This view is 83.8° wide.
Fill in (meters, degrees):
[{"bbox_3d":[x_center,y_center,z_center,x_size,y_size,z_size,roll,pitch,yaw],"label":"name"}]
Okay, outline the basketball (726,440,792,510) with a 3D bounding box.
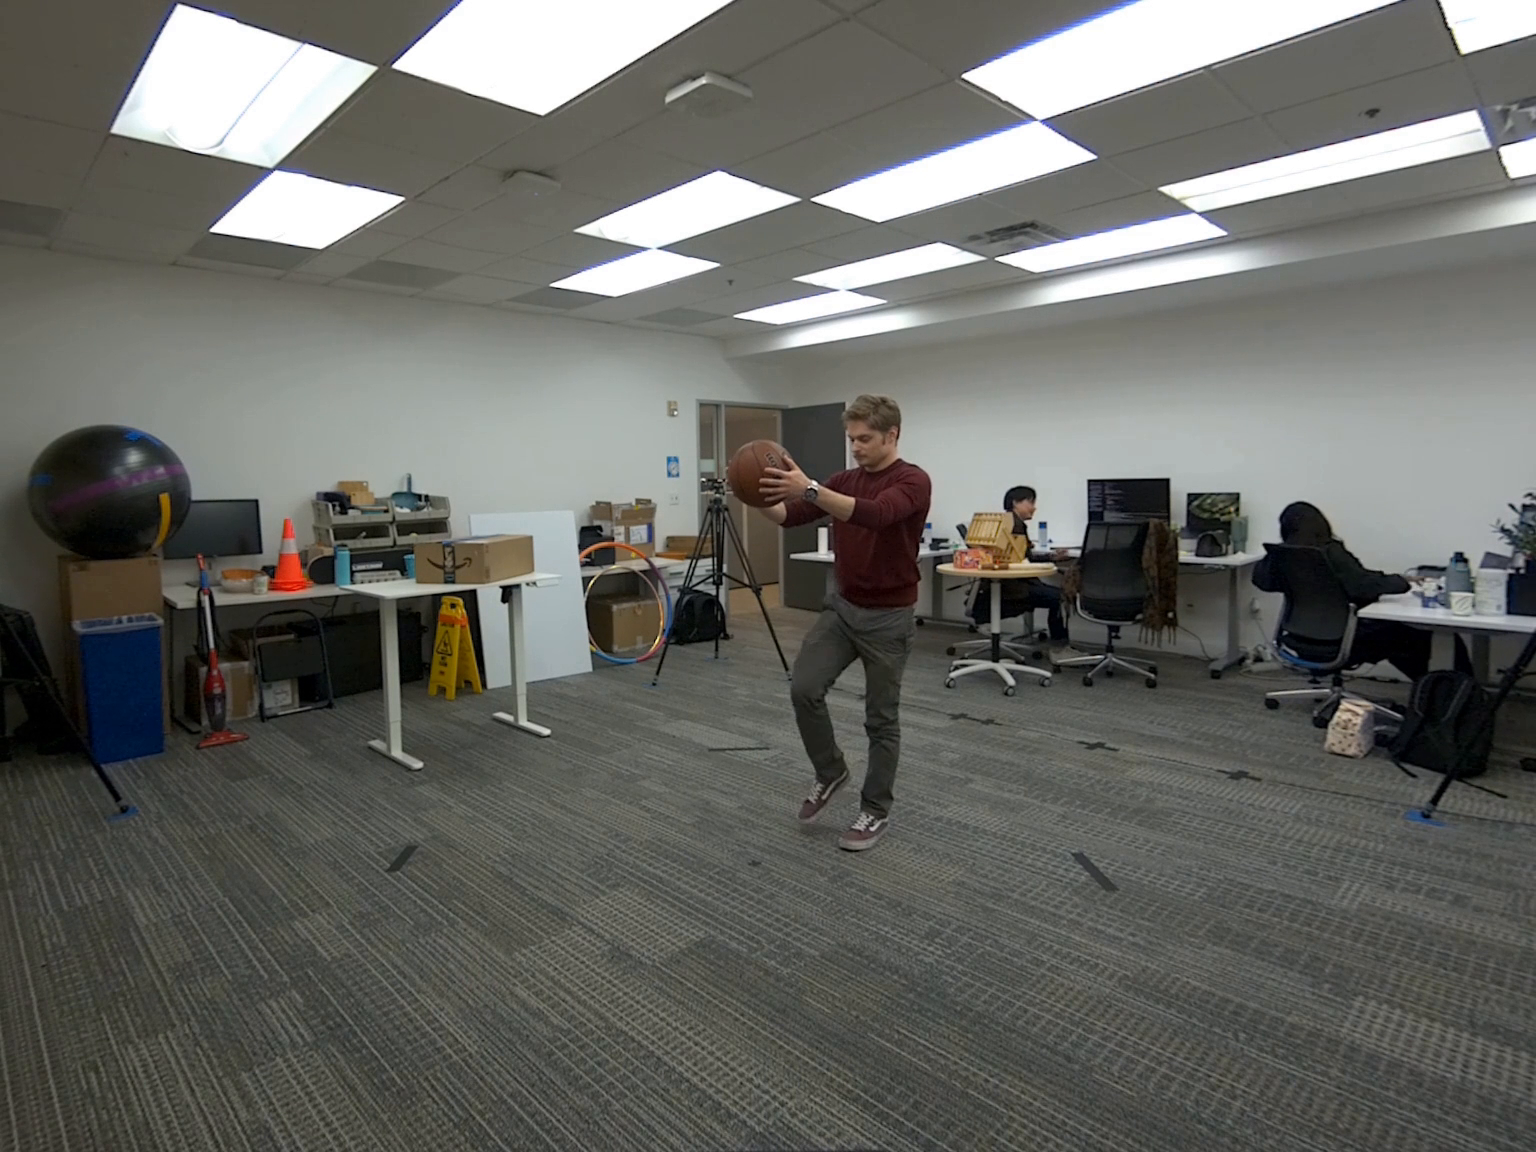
[{"bbox_3d":[-0.024,-0.365,3.005,0.236,0.235,0.237,-1,5,-2],"label":"basketball"}]
